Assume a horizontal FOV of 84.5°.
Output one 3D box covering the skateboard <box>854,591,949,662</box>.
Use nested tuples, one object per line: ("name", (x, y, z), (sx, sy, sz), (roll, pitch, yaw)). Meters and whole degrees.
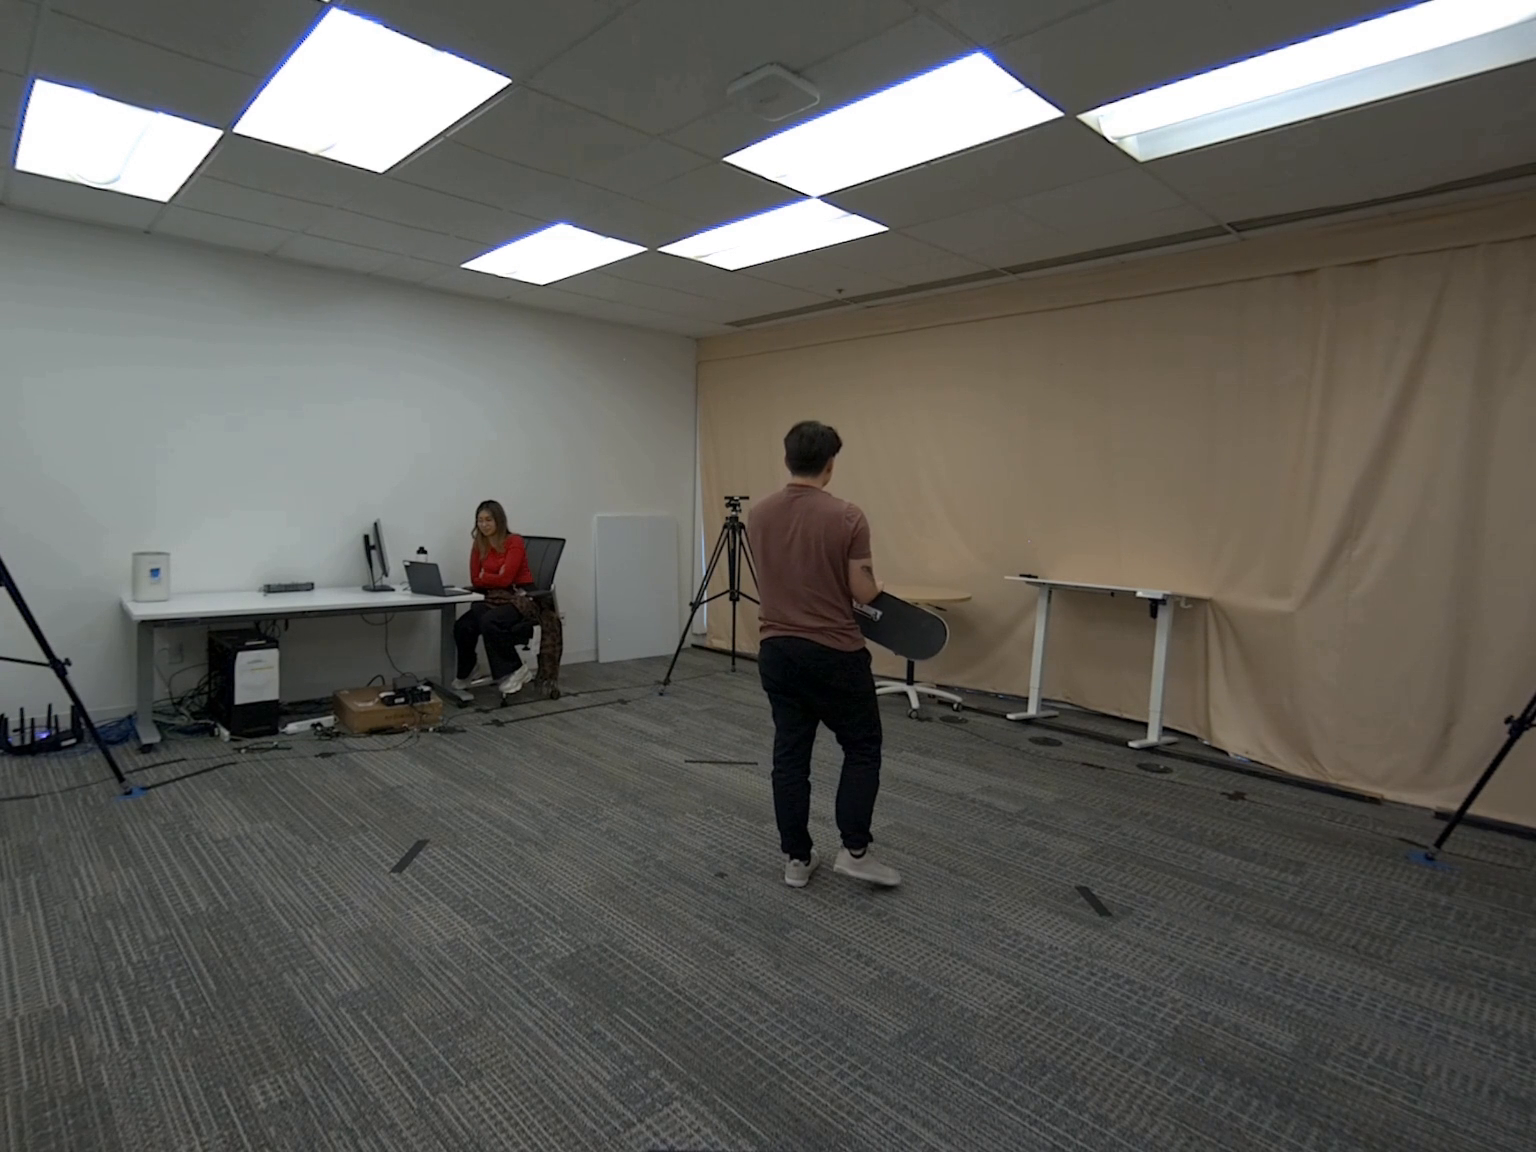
("skateboard", (0.366, 0.138, 3.269), (0.810, 0.194, 0.107), (26, -8, 41))
